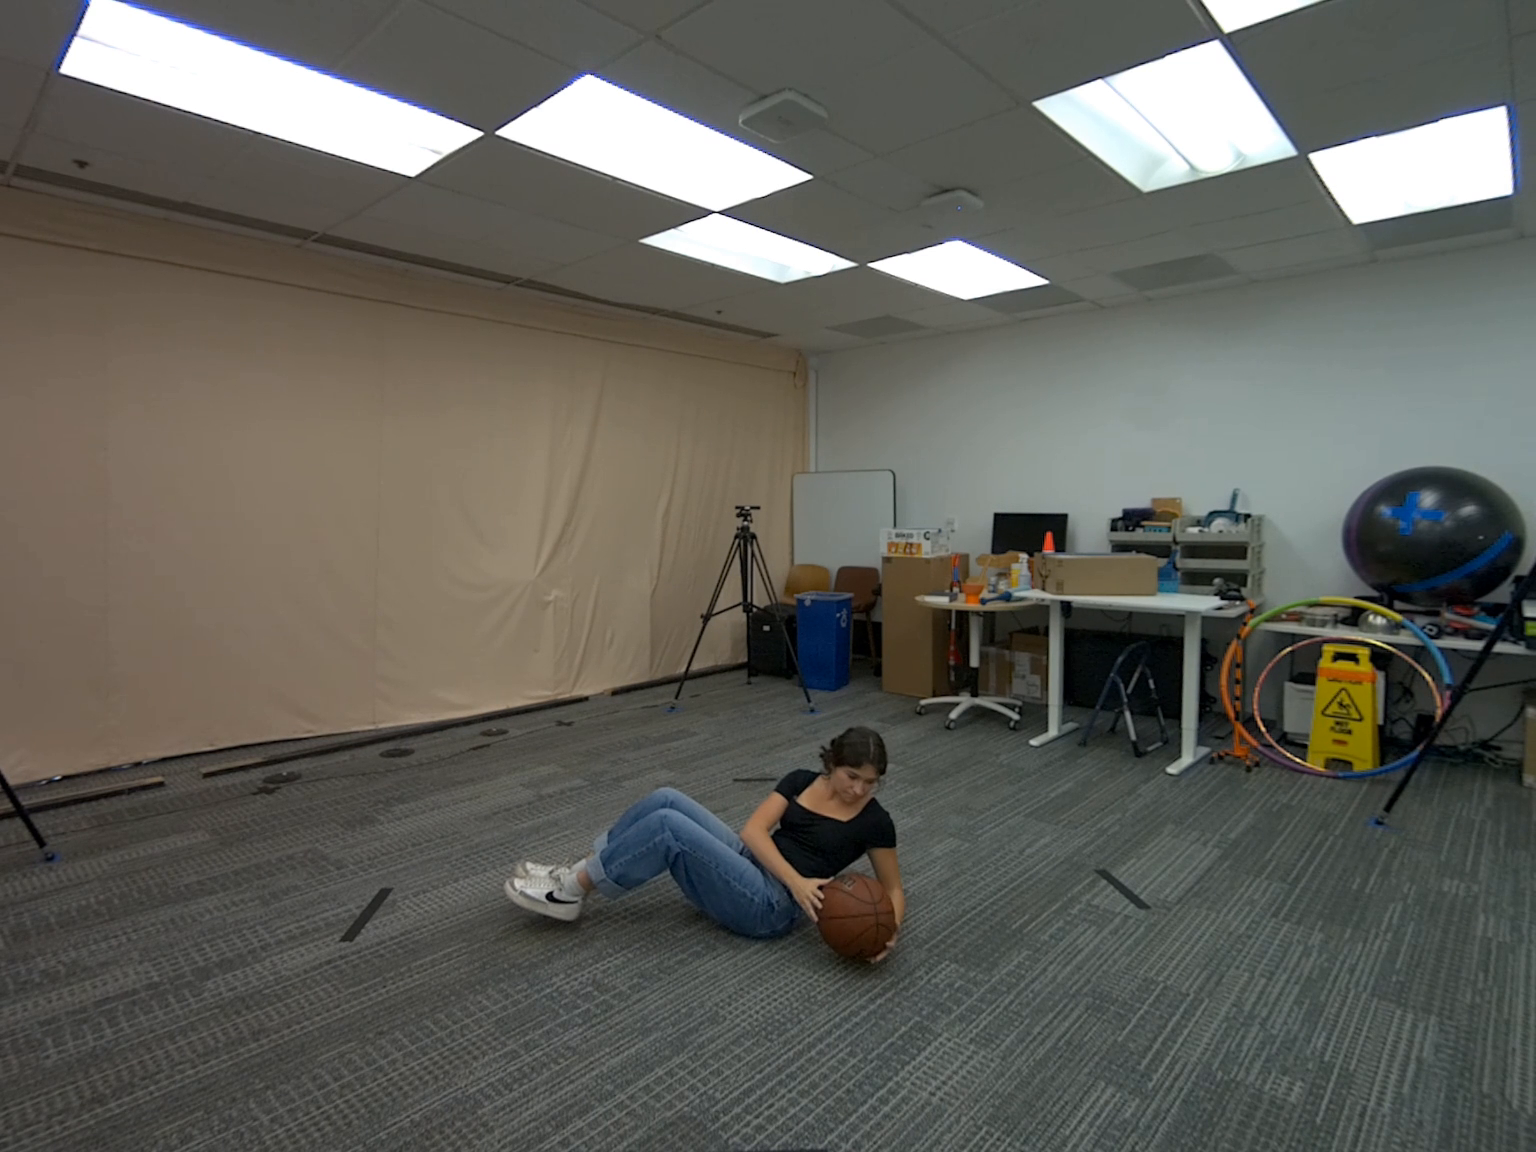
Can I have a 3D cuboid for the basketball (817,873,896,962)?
[{"bbox_3d":[0.253,1.005,2.554,0.236,0.235,0.237,0,4,-2],"label":"basketball"}]
